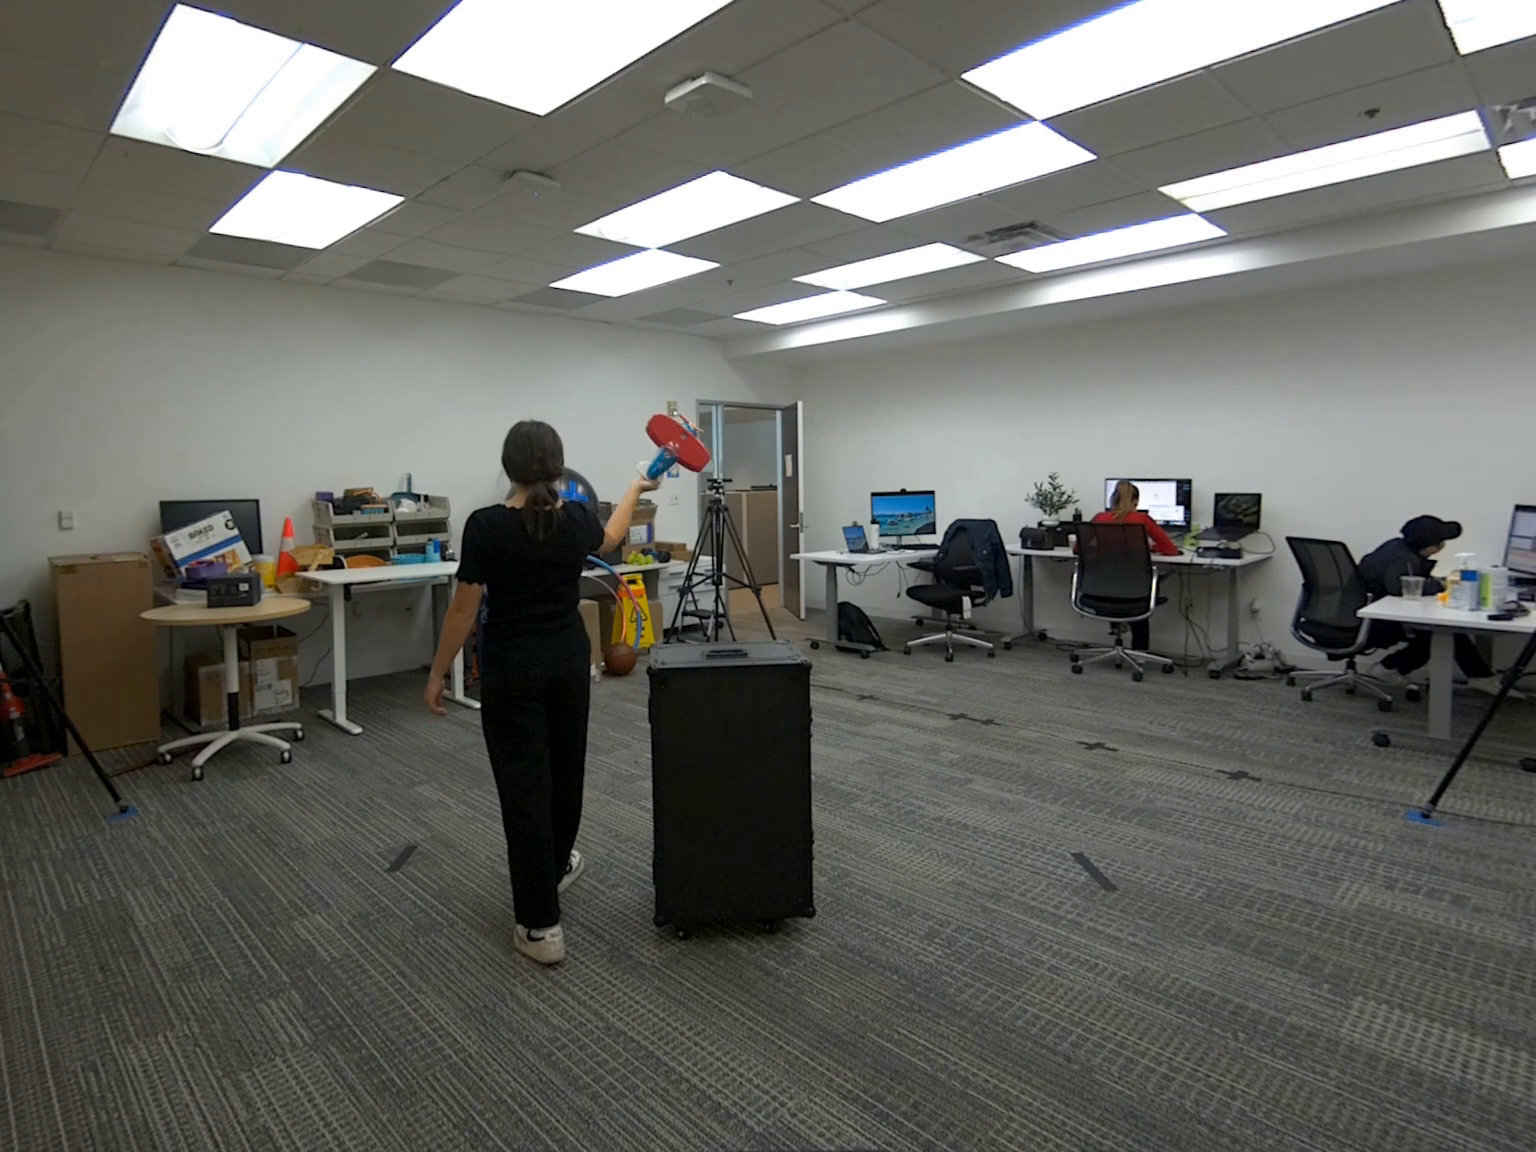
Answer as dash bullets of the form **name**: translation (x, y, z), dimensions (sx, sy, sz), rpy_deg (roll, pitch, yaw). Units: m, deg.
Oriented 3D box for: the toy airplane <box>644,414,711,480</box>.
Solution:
- **toy airplane**: translation (-0.334, -0.438, 3.069), dimensions (0.247, 0.263, 0.157), rpy_deg (12, -20, -16)
